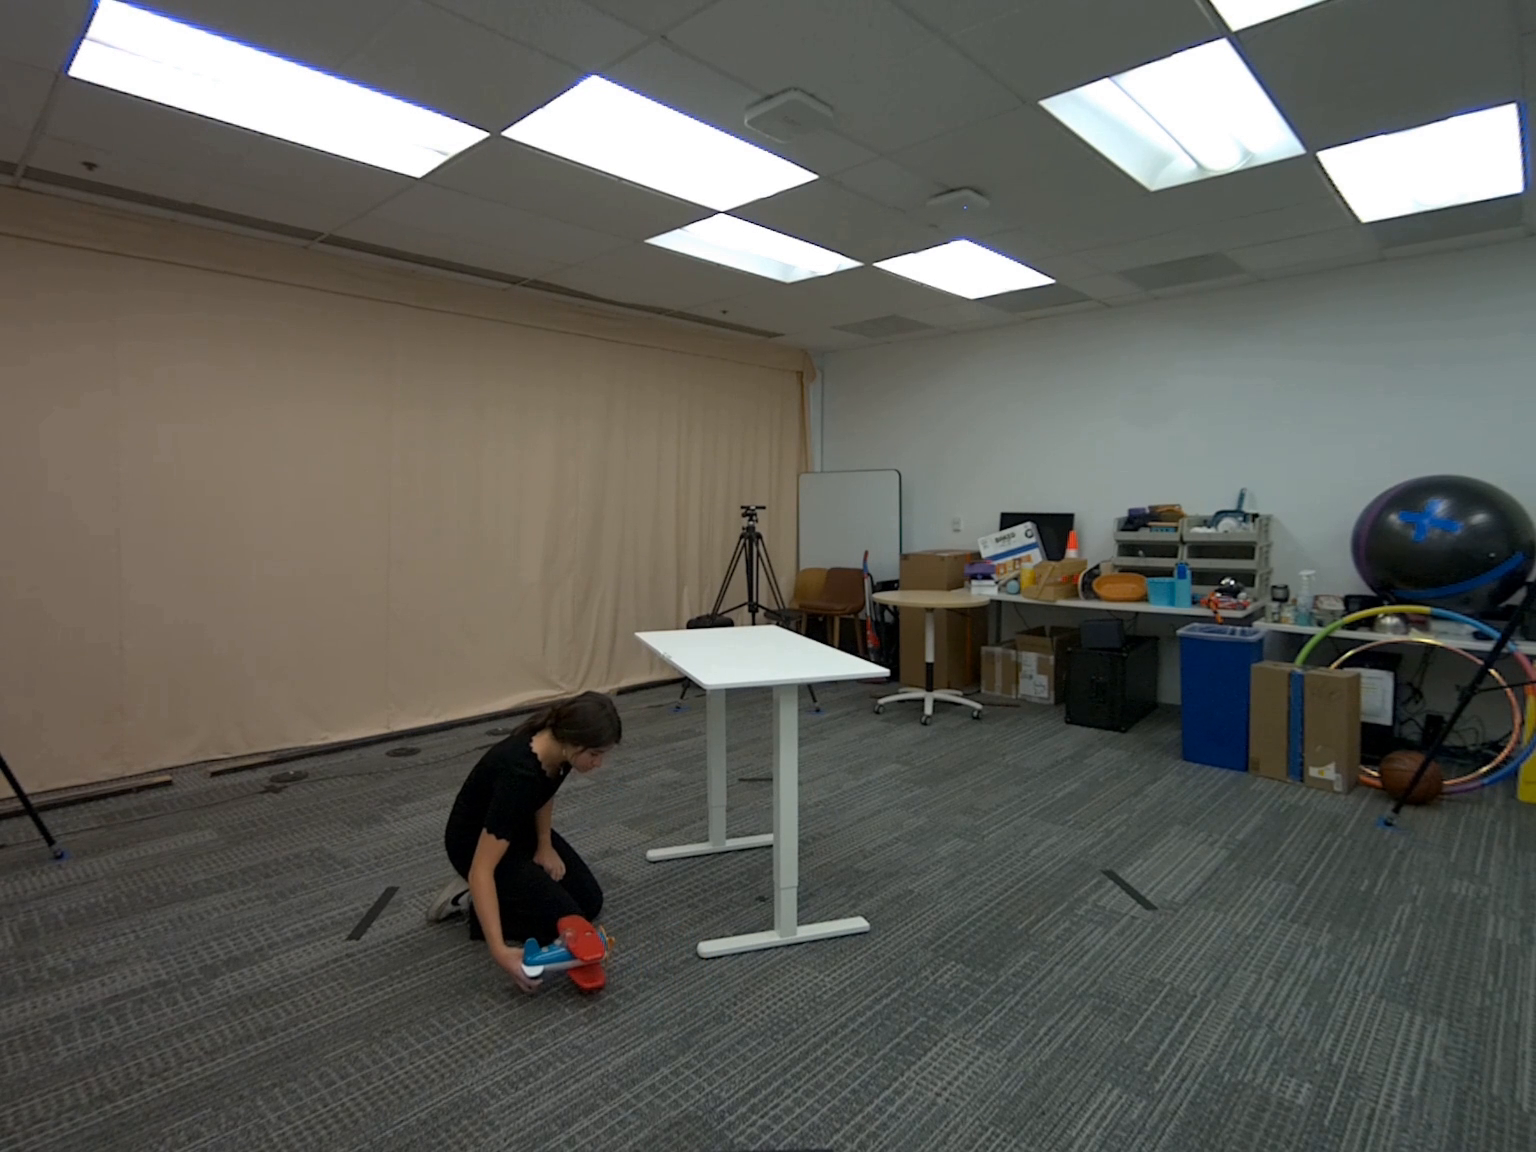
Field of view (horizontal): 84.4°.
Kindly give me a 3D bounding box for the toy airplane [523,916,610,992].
[{"bbox_3d":[-0.558,1.105,2.394,0.259,0.156,0.250,11,-4,32],"label":"toy airplane"}]
